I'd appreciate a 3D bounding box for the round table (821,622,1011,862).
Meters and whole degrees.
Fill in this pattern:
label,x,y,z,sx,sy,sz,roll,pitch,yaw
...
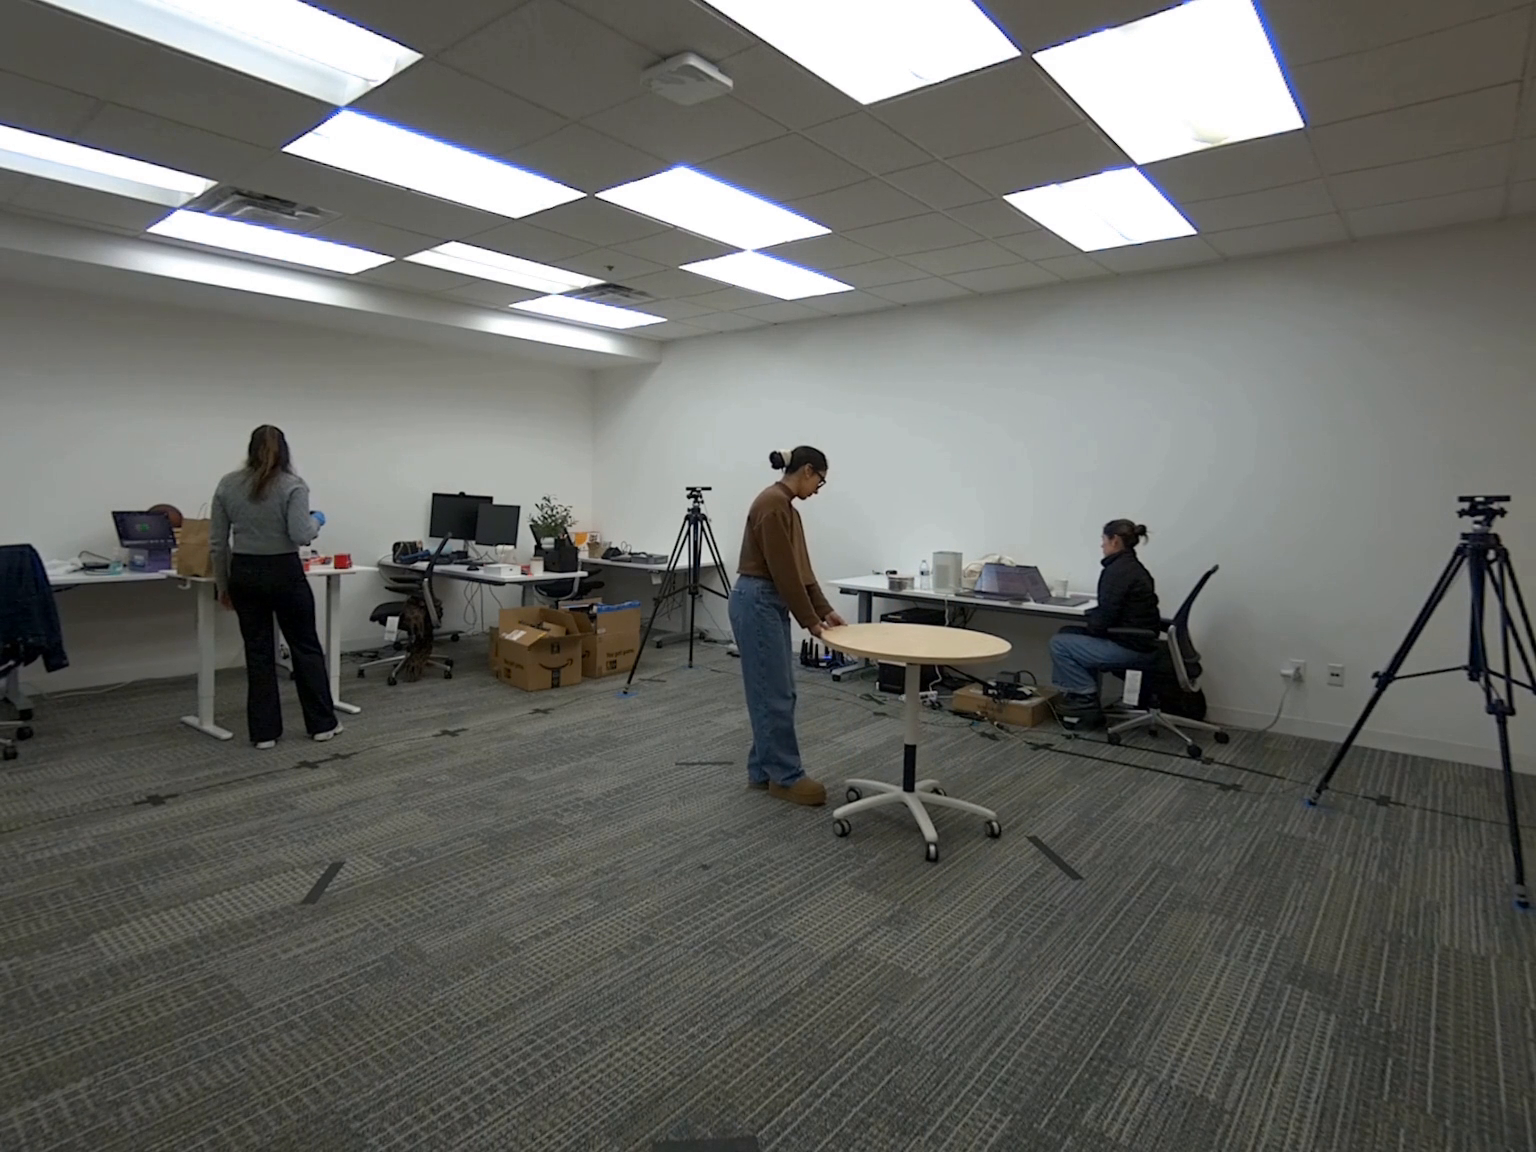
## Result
label,x,y,z,sx,sy,sz,roll,pitch,yaw
round table,0.582,0.648,3.549,0.763,0.791,0.768,1,4,-2
